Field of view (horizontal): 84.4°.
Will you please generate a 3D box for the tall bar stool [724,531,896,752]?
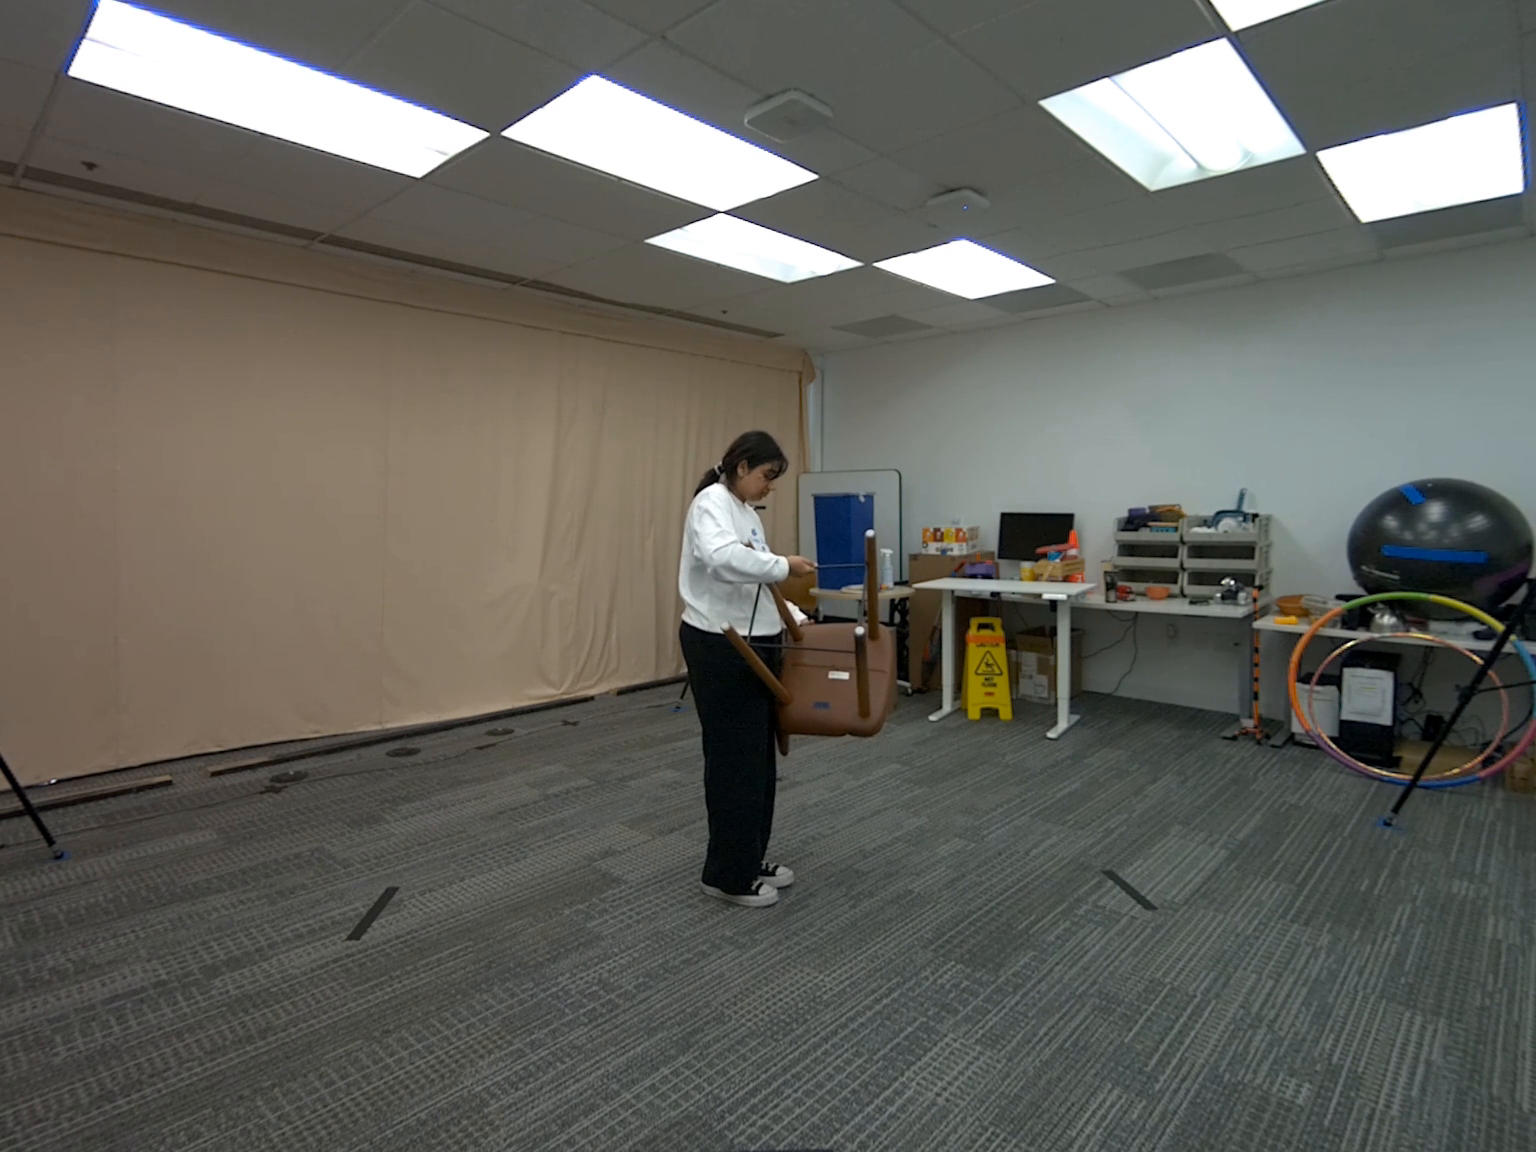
[{"bbox_3d":[0.205,0.288,2.979,0.476,0.461,0.865,1,-39,17],"label":"tall bar stool"}]
